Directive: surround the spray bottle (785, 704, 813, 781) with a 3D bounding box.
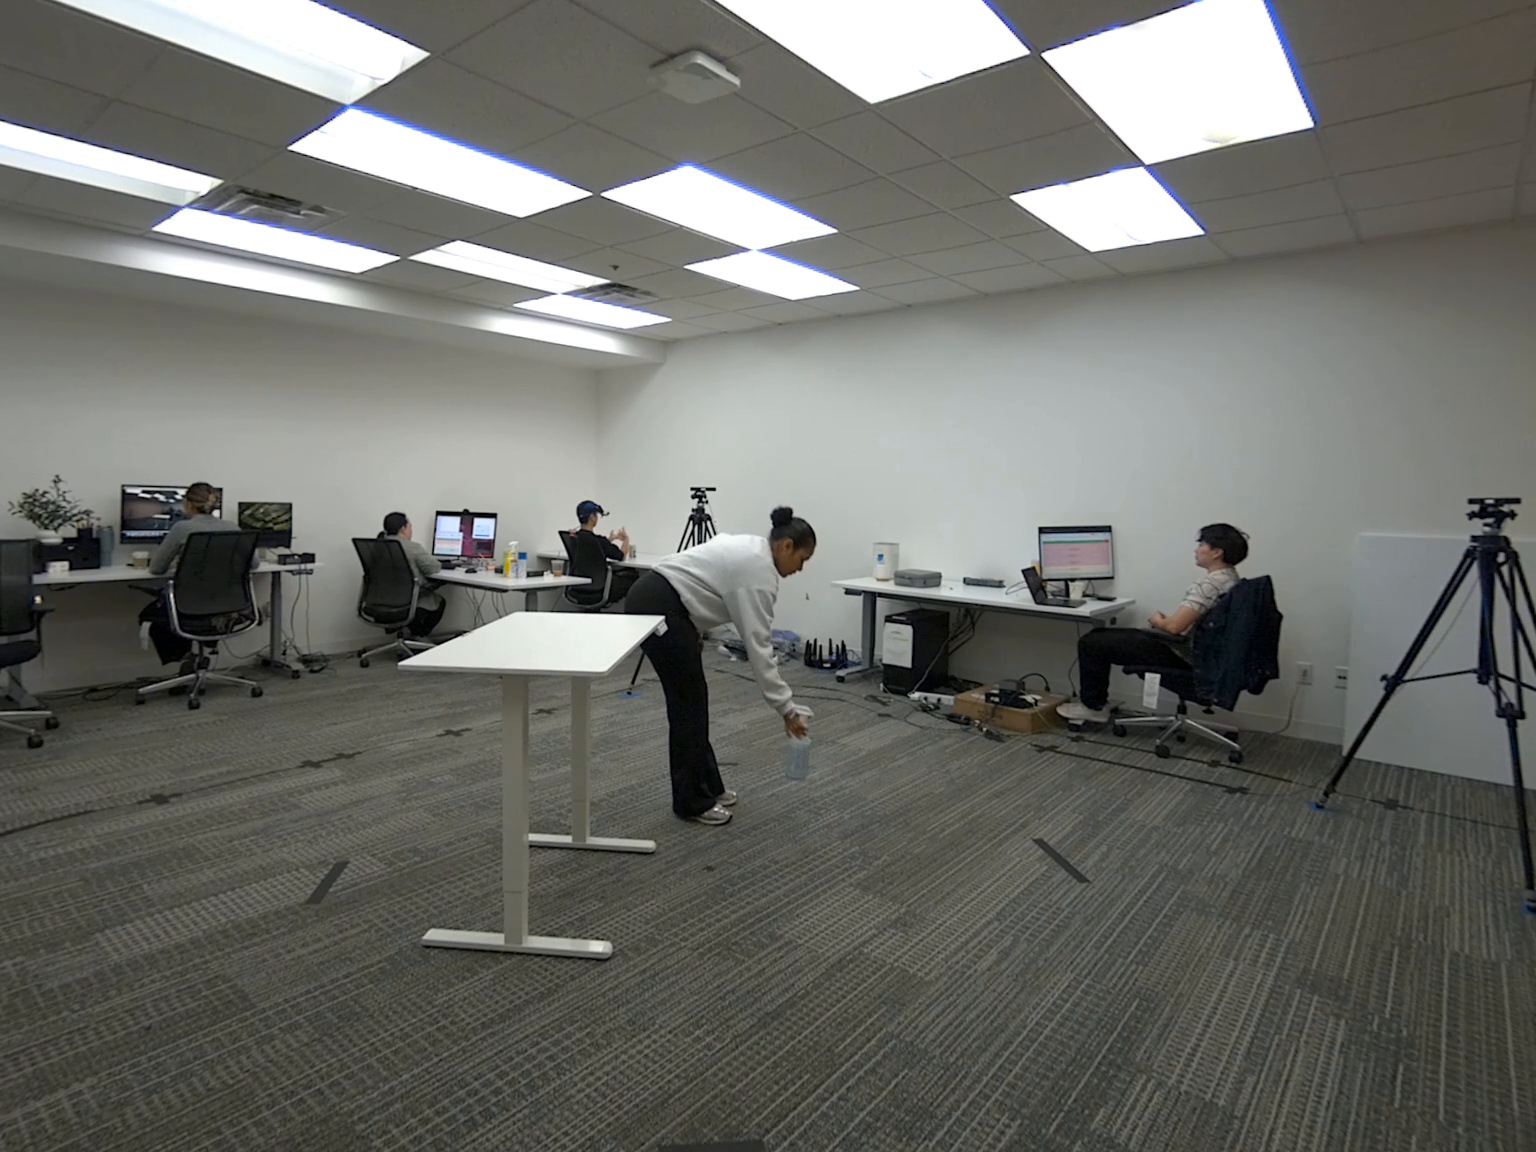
[{"bbox_3d":[0.115,0.657,3.411,0.092,0.294,0.085,11,12,23],"label":"spray bottle"}]
